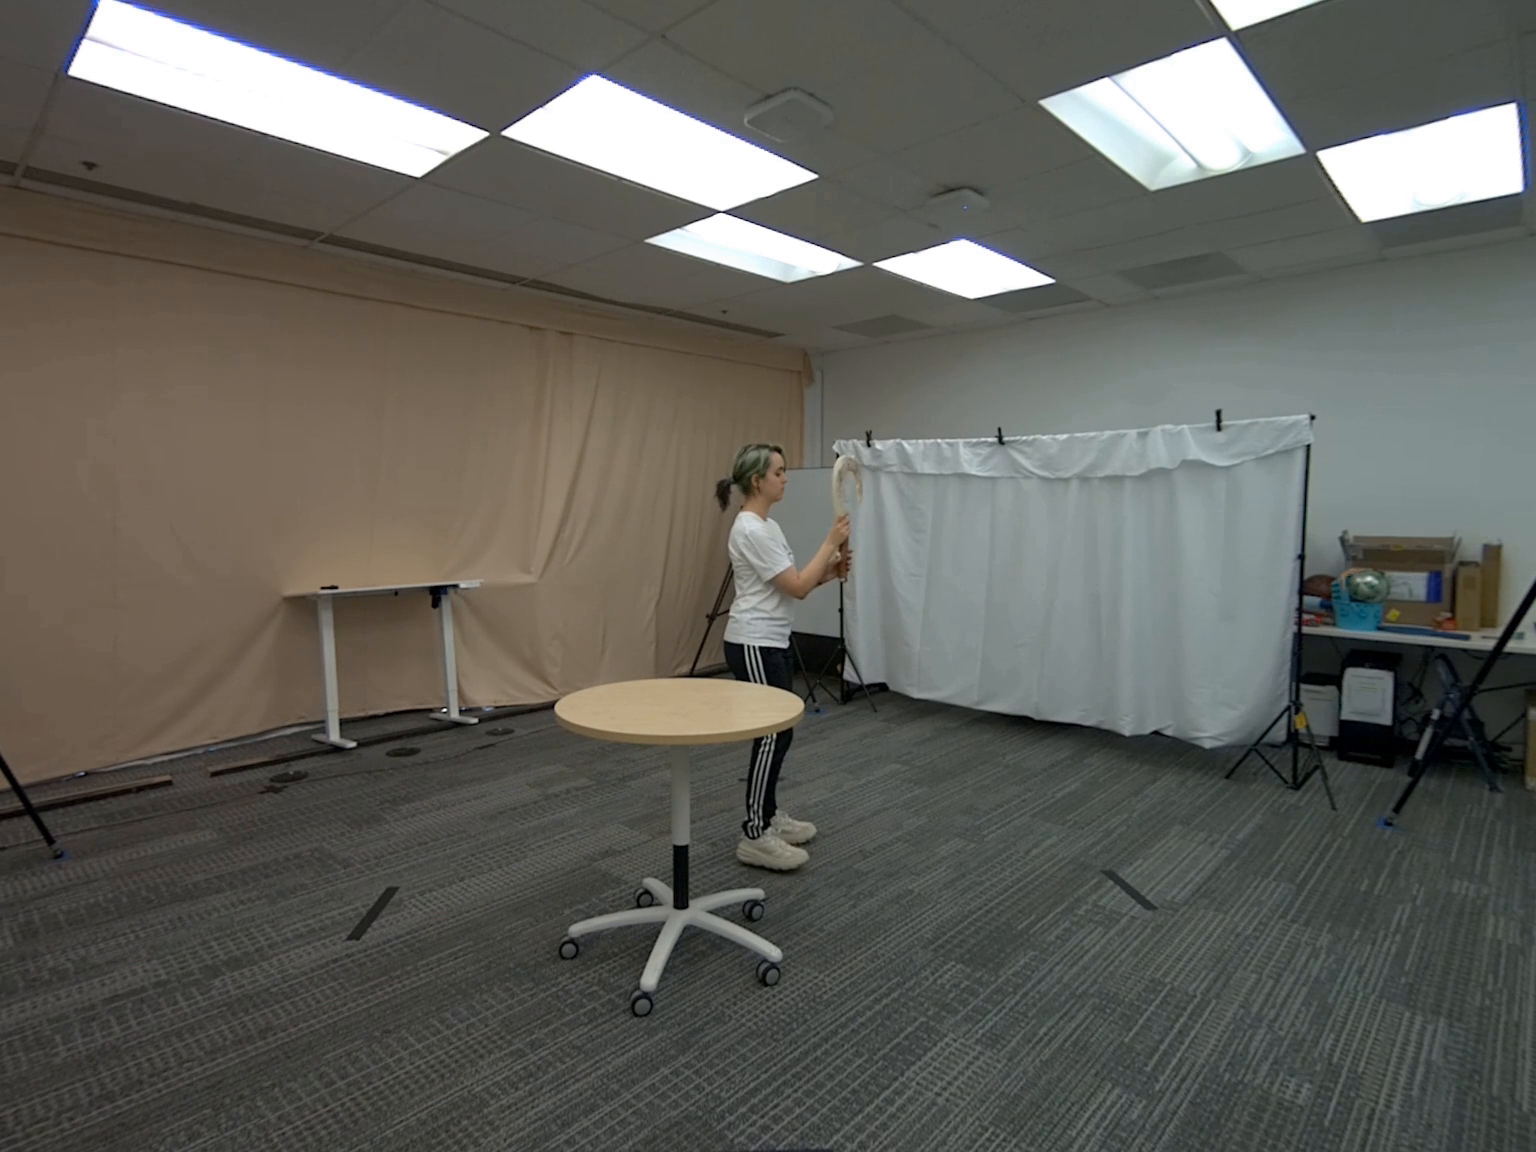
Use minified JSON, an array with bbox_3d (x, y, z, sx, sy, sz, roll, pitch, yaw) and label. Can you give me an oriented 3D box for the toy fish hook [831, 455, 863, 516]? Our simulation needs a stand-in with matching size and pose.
[{"bbox_3d":[0.323,-0.232,3.383,0.050,0.505,0.218,5,7,39],"label":"toy fish hook"}]
